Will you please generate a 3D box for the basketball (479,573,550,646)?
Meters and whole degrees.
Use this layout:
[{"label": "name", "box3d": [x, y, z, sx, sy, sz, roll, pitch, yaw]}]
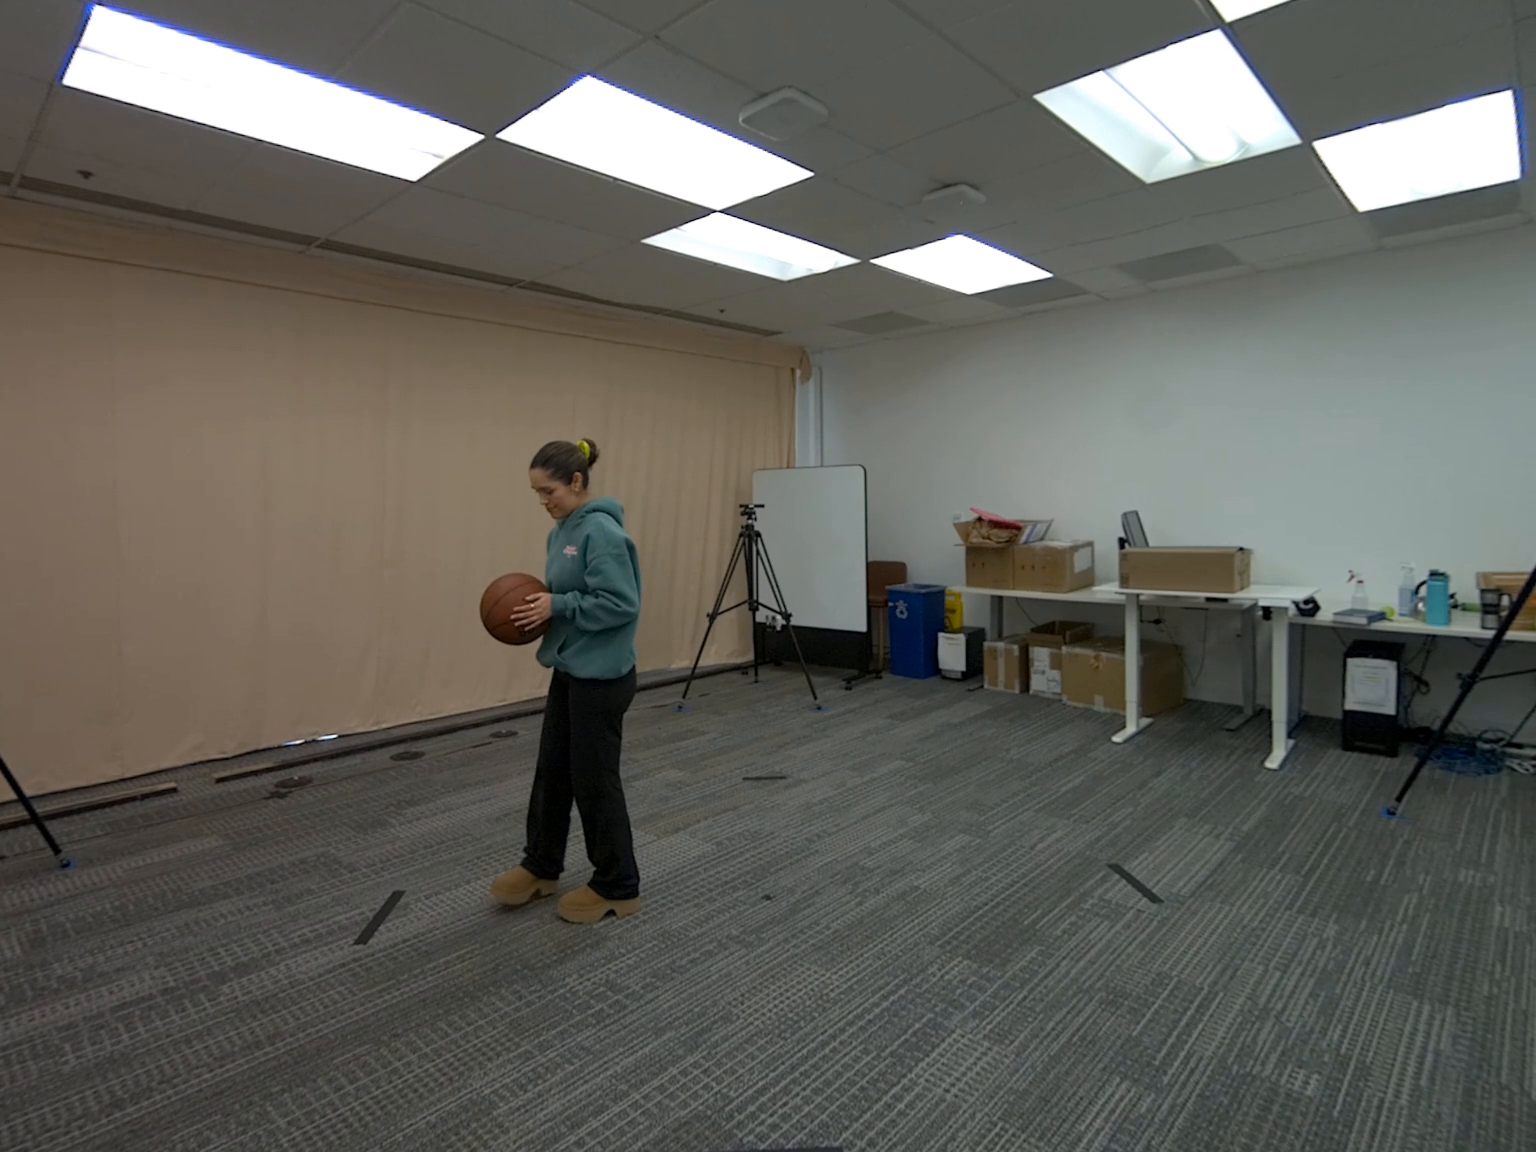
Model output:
[{"label": "basketball", "box3d": [-0.816, 0.110, 2.752, 0.236, 0.235, 0.237, -1, 4, -2]}]
